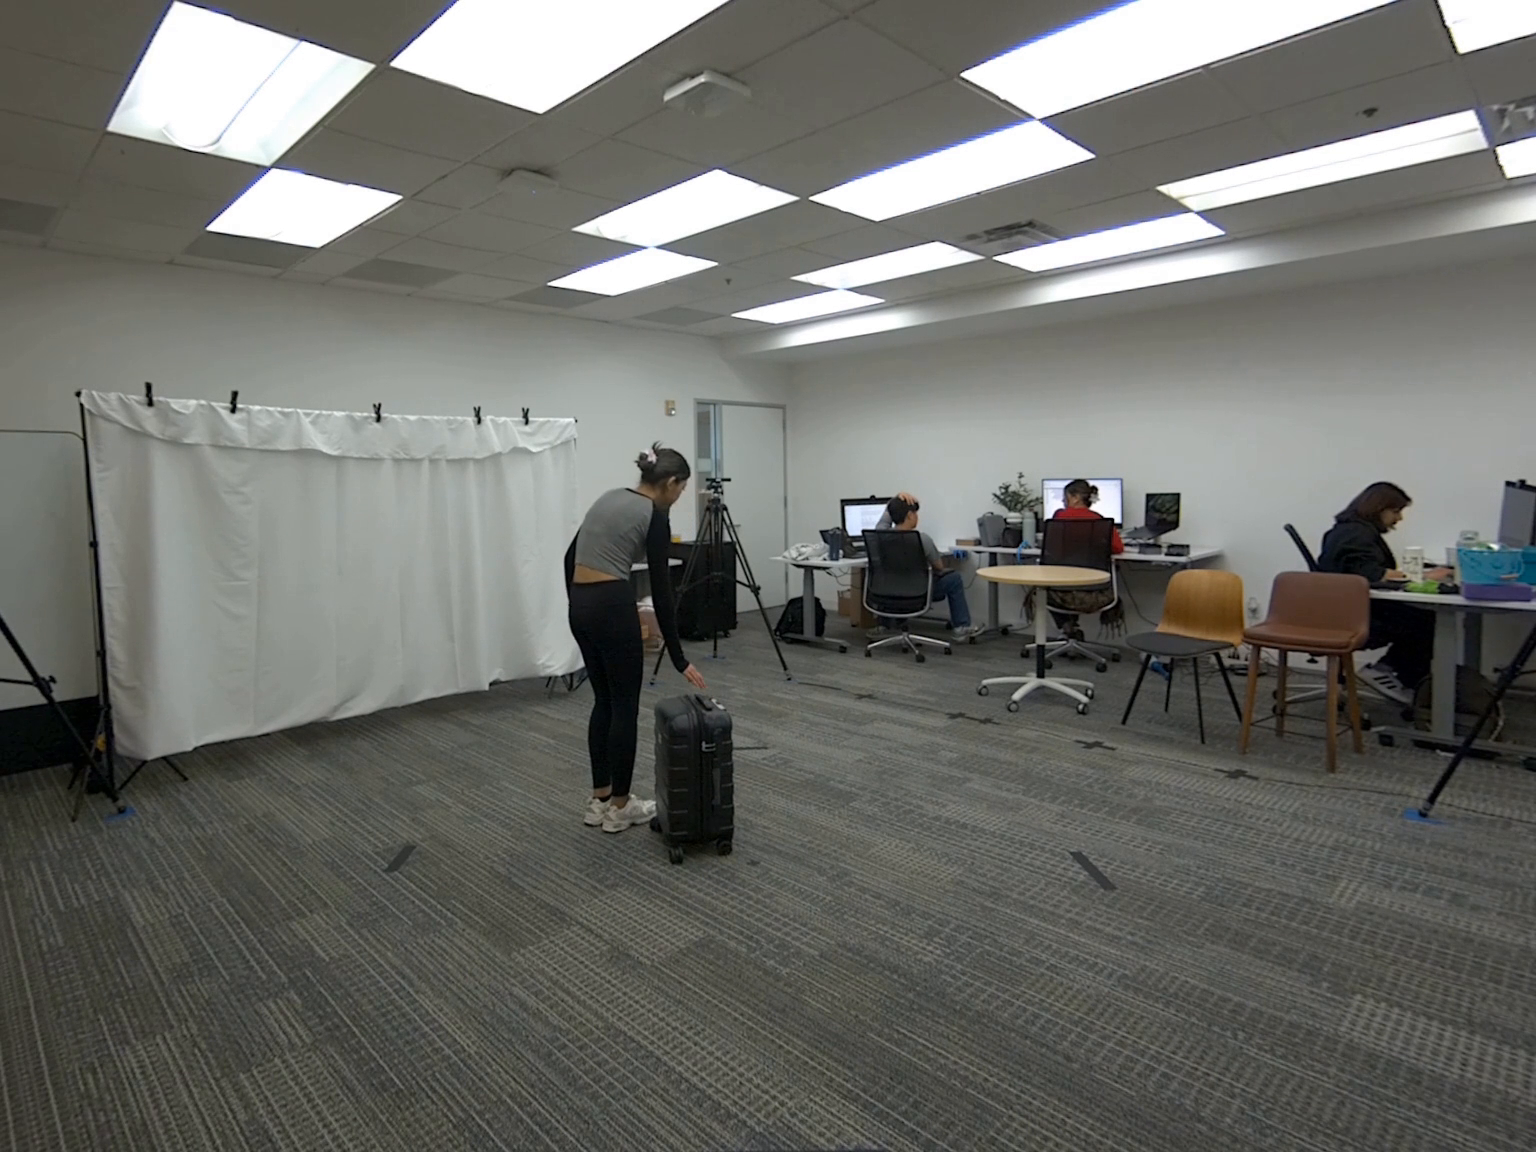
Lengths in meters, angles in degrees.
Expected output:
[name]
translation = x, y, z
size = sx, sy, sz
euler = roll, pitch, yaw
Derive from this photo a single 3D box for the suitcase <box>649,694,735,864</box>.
[suitcase]
translation = -0.290, 0.747, 3.283
size = 0.244, 0.547, 0.382
euler = -1, 4, -17
